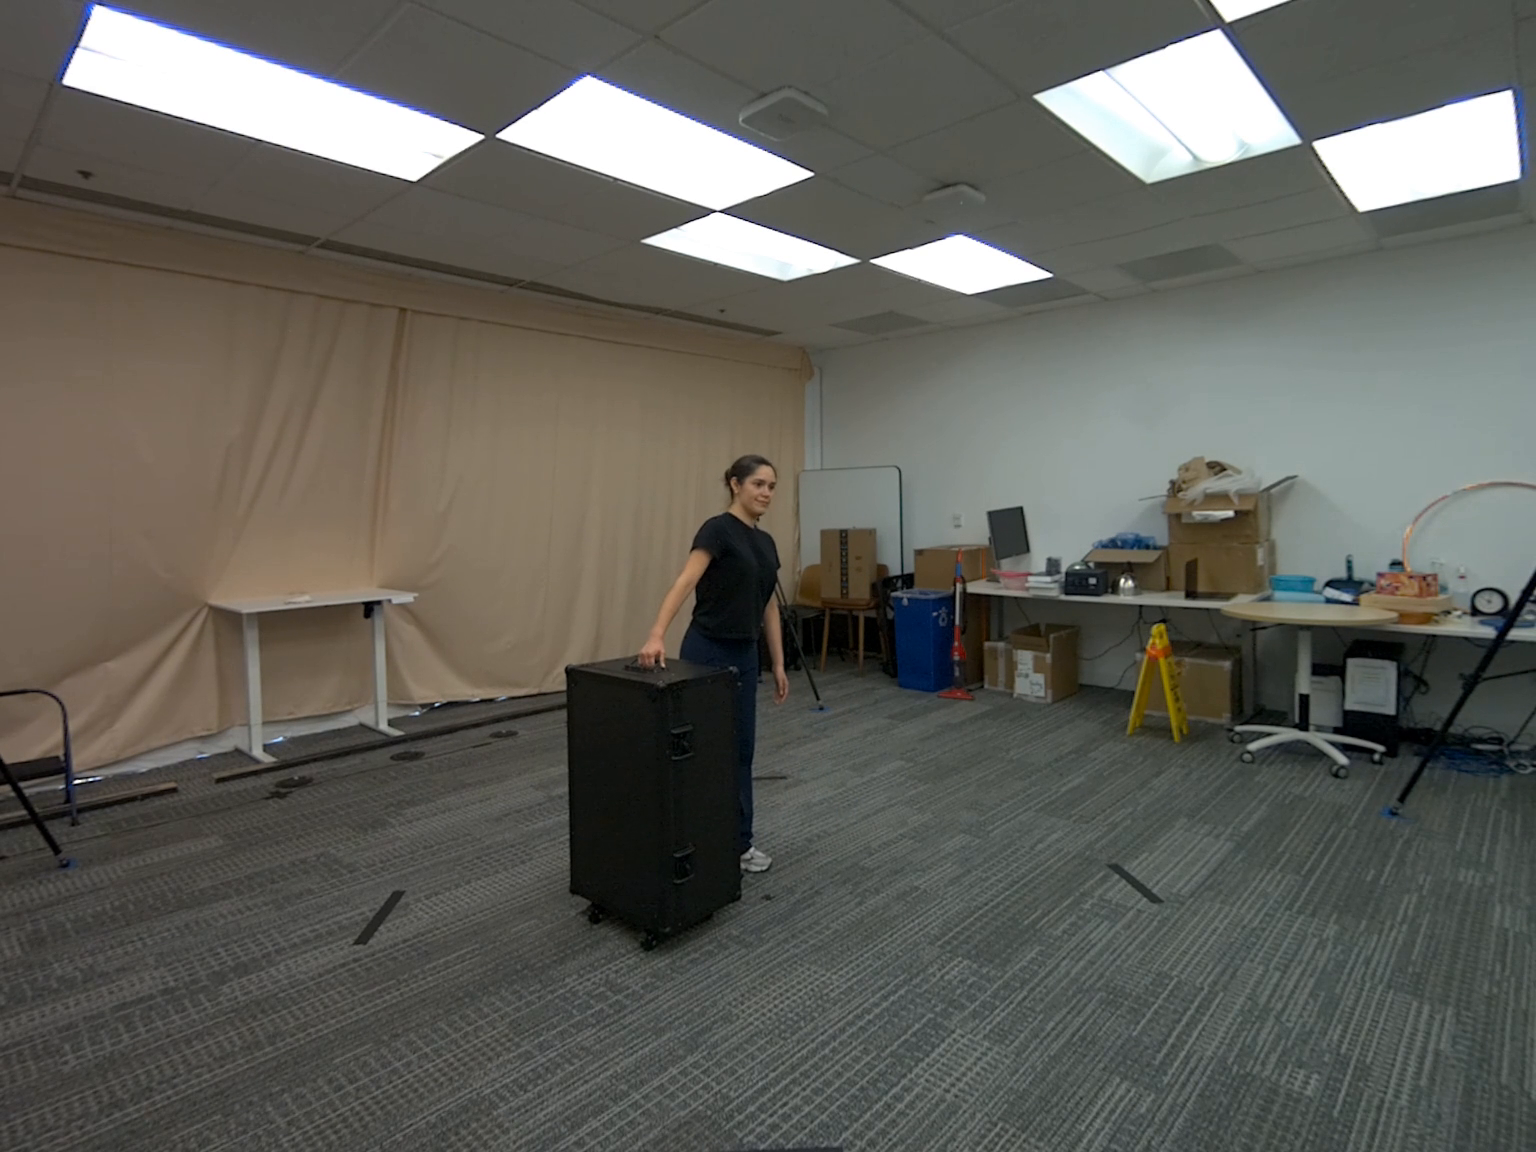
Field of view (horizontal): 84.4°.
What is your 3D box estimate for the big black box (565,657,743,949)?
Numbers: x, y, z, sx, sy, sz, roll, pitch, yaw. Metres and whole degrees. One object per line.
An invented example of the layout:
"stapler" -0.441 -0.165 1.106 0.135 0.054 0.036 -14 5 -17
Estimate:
"big black box" -0.374 0.732 2.864 0.538 0.861 0.384 2 2 42
